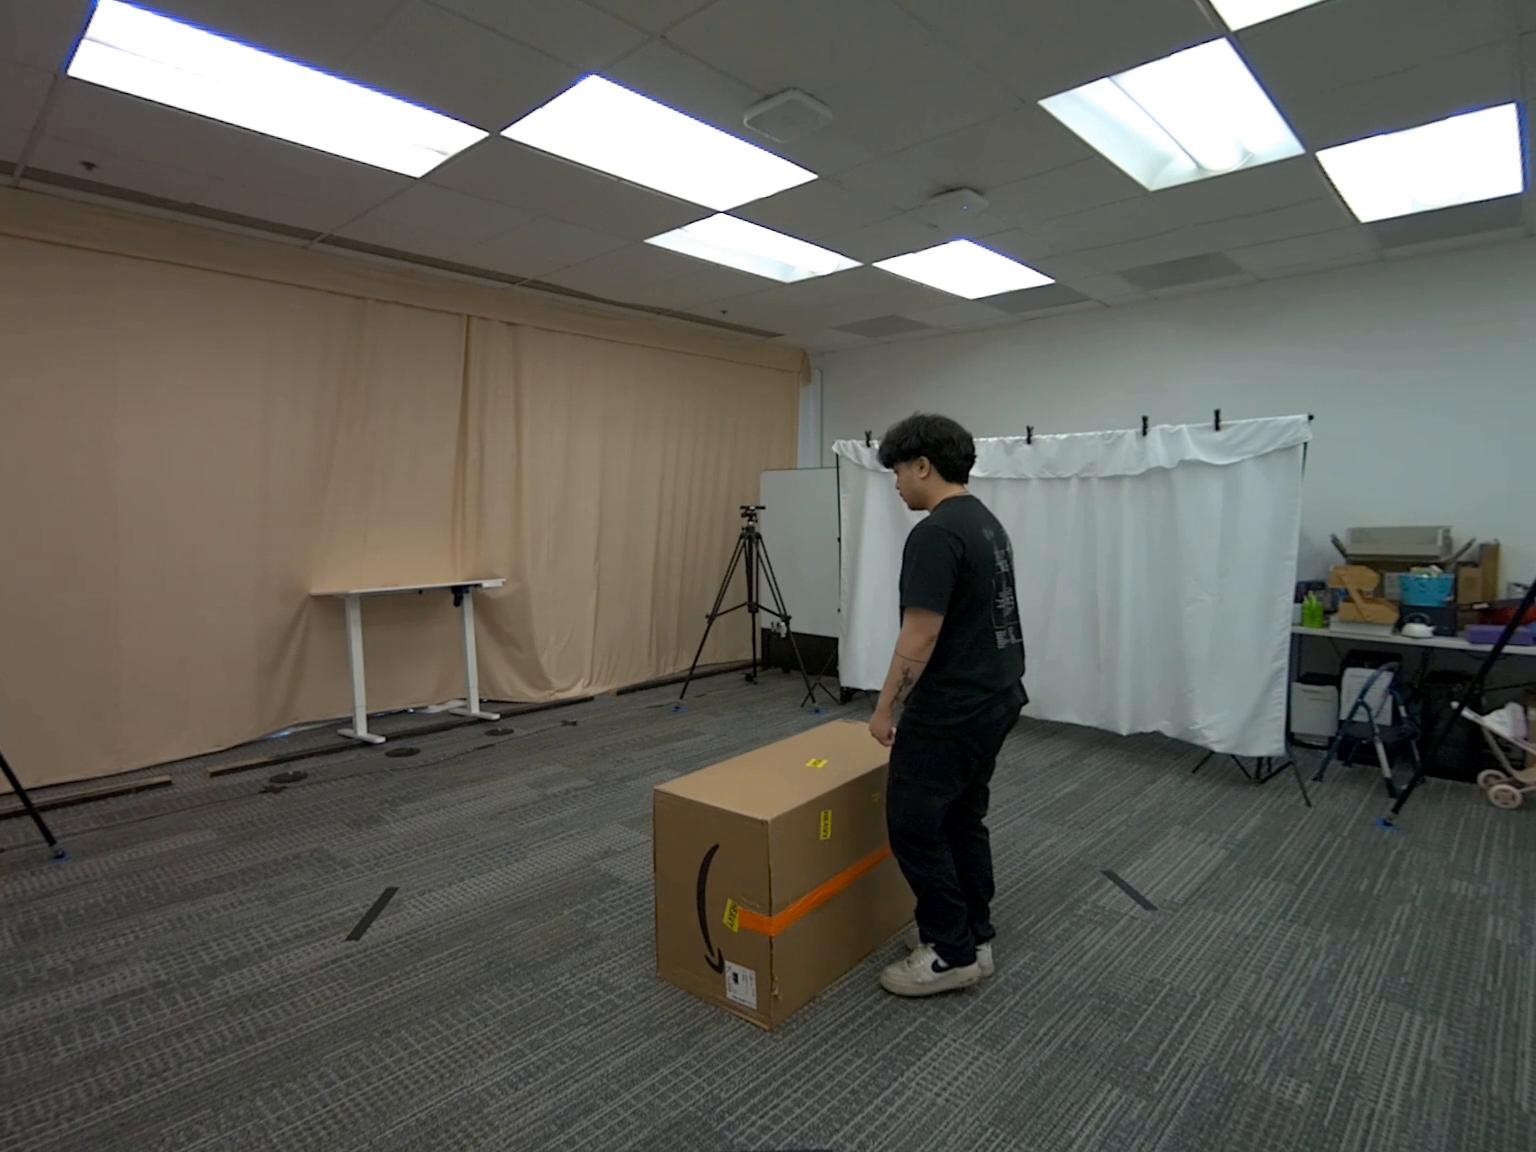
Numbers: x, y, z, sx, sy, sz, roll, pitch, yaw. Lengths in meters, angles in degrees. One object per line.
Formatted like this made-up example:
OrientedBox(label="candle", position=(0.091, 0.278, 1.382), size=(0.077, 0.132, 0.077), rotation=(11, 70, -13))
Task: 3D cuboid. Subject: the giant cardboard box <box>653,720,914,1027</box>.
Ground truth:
OrientedBox(label="giant cardboard box", position=(0.143, 0.881, 2.730), size=(0.461, 0.582, 0.997), rotation=(4, 6, 39))
